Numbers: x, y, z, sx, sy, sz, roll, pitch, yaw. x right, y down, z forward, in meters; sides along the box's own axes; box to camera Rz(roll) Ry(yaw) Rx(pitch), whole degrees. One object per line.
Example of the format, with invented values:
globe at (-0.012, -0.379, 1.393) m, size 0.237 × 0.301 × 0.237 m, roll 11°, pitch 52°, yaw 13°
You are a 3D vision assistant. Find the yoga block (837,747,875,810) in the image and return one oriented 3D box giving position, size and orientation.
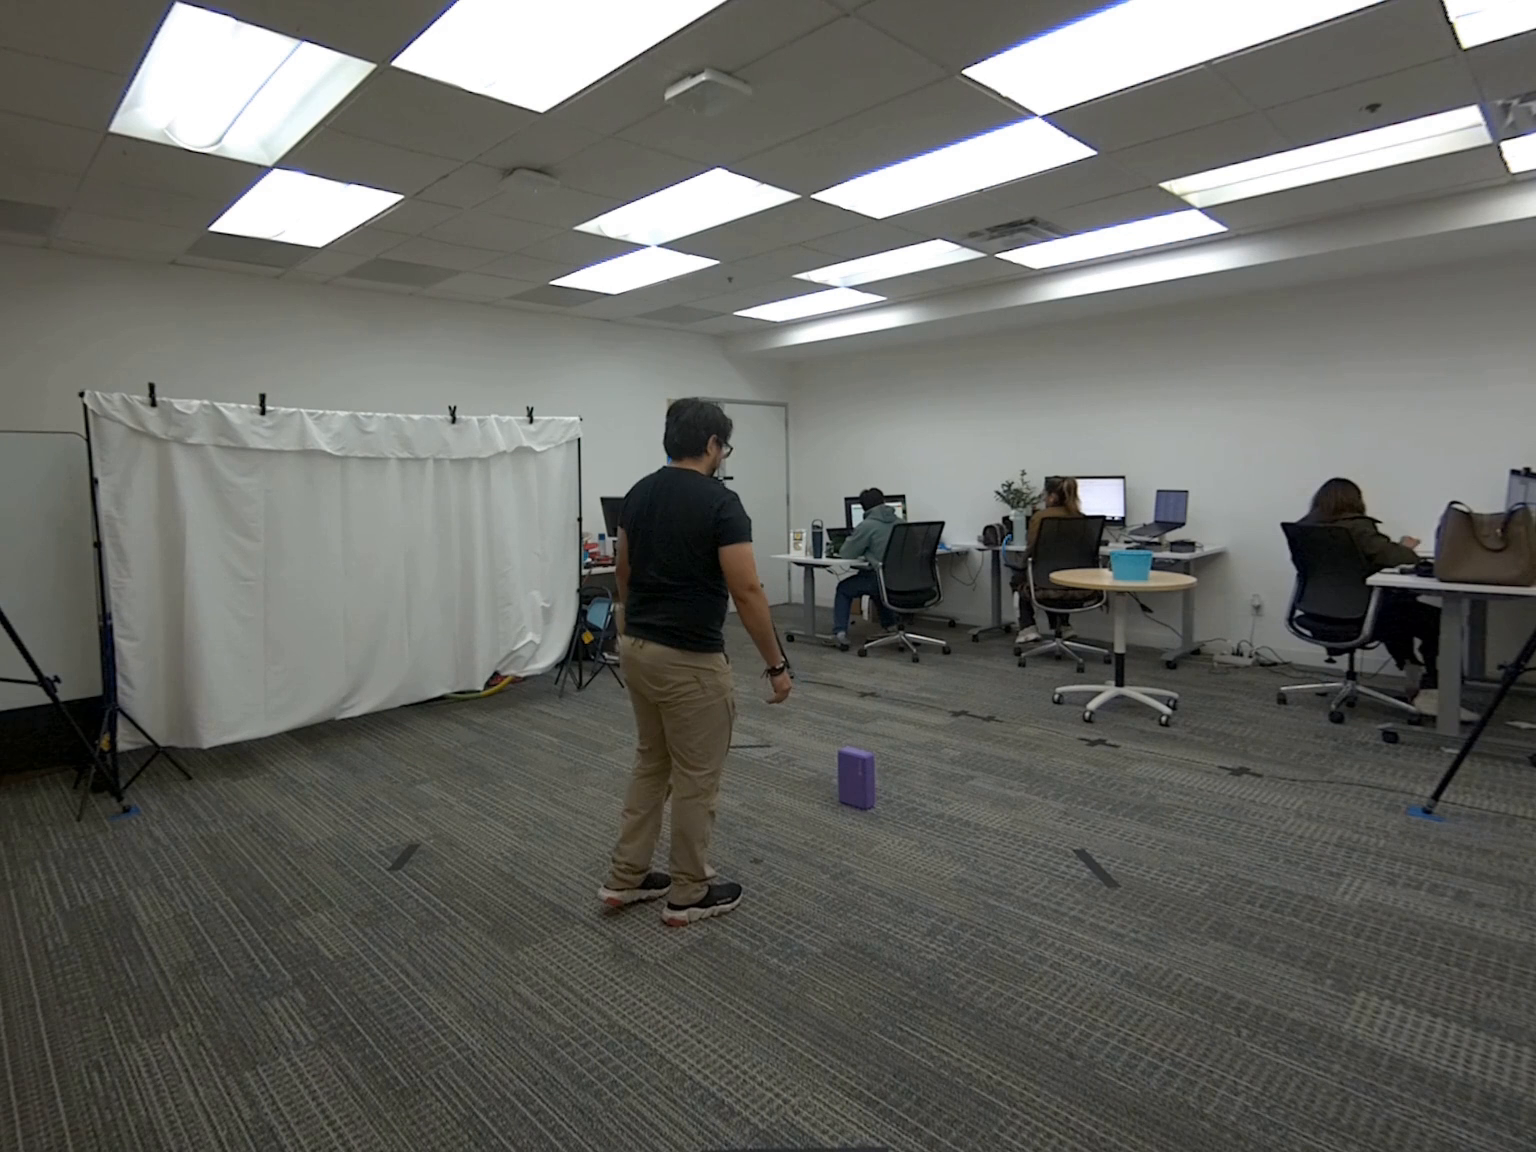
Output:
yoga block at (0.378, 0.855, 3.622) m, size 0.153 × 0.228 × 0.074 m, roll 4°, pitch 6°, yaw 44°
